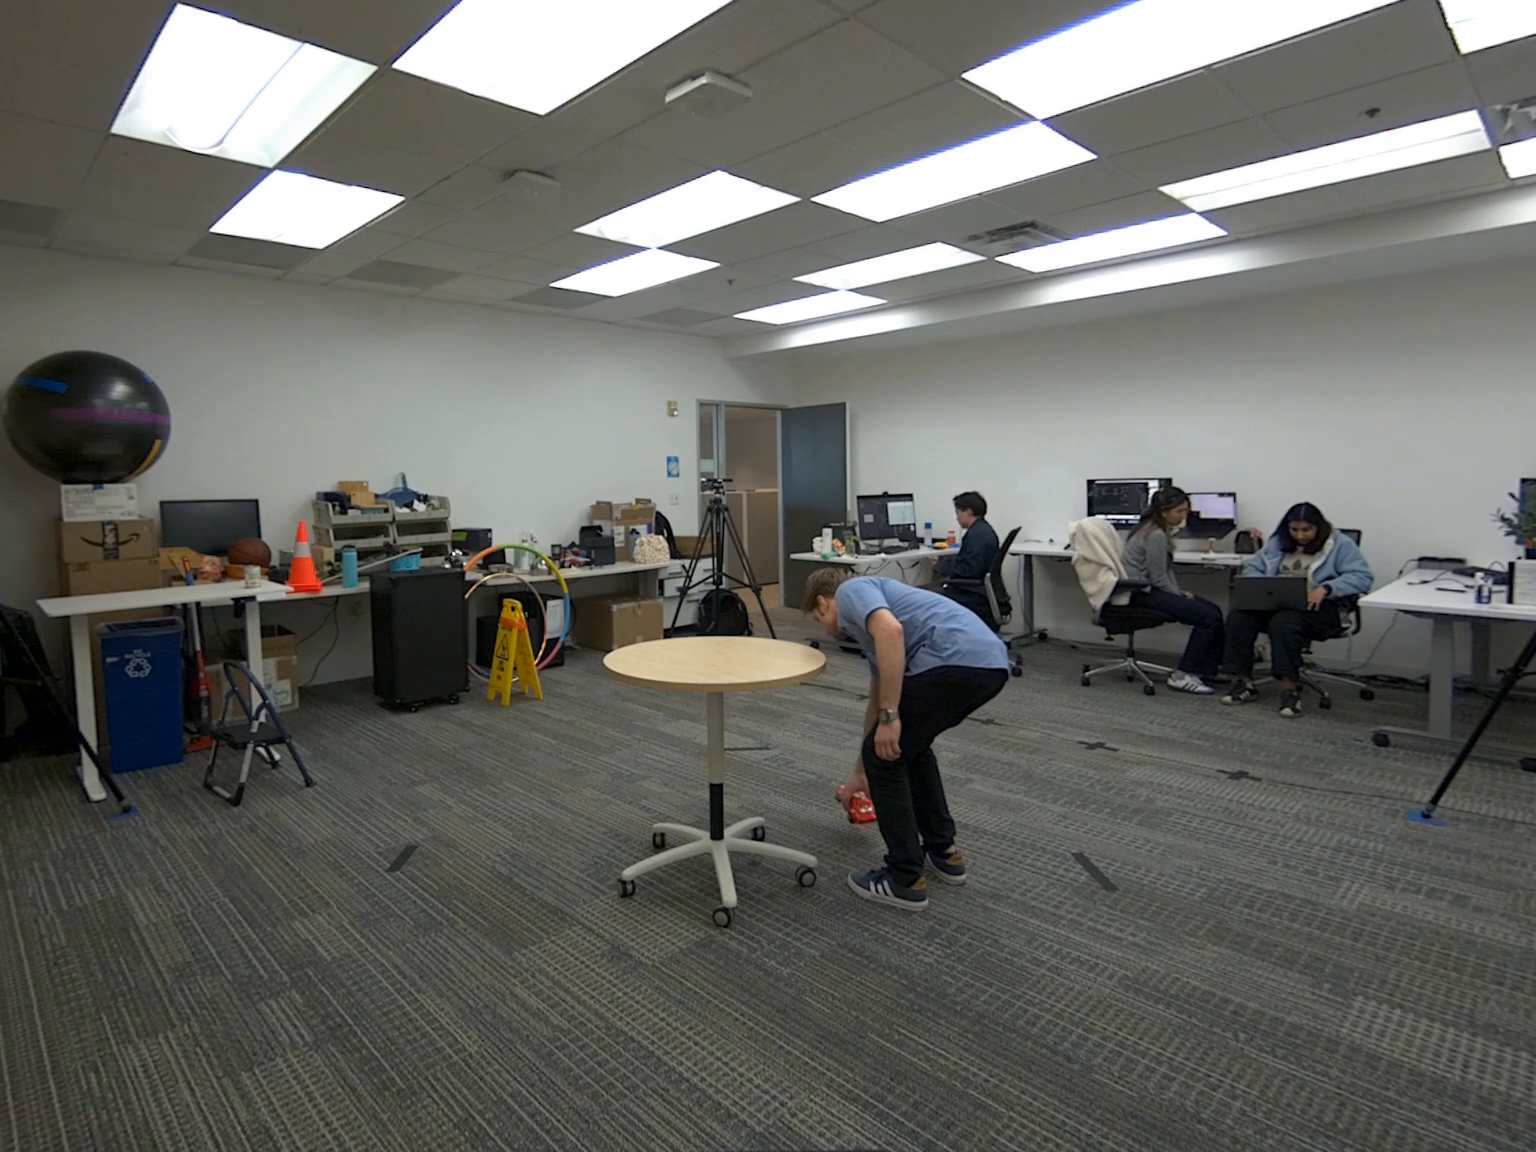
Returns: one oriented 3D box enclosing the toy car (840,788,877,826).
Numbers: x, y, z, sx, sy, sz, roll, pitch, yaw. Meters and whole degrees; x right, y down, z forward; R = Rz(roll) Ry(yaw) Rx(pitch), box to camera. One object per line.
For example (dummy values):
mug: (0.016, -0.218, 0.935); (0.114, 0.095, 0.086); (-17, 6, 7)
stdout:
toy car: (0.359, 0.897, 3.332); (0.129, 0.082, 0.259); (-7, 9, -11)
